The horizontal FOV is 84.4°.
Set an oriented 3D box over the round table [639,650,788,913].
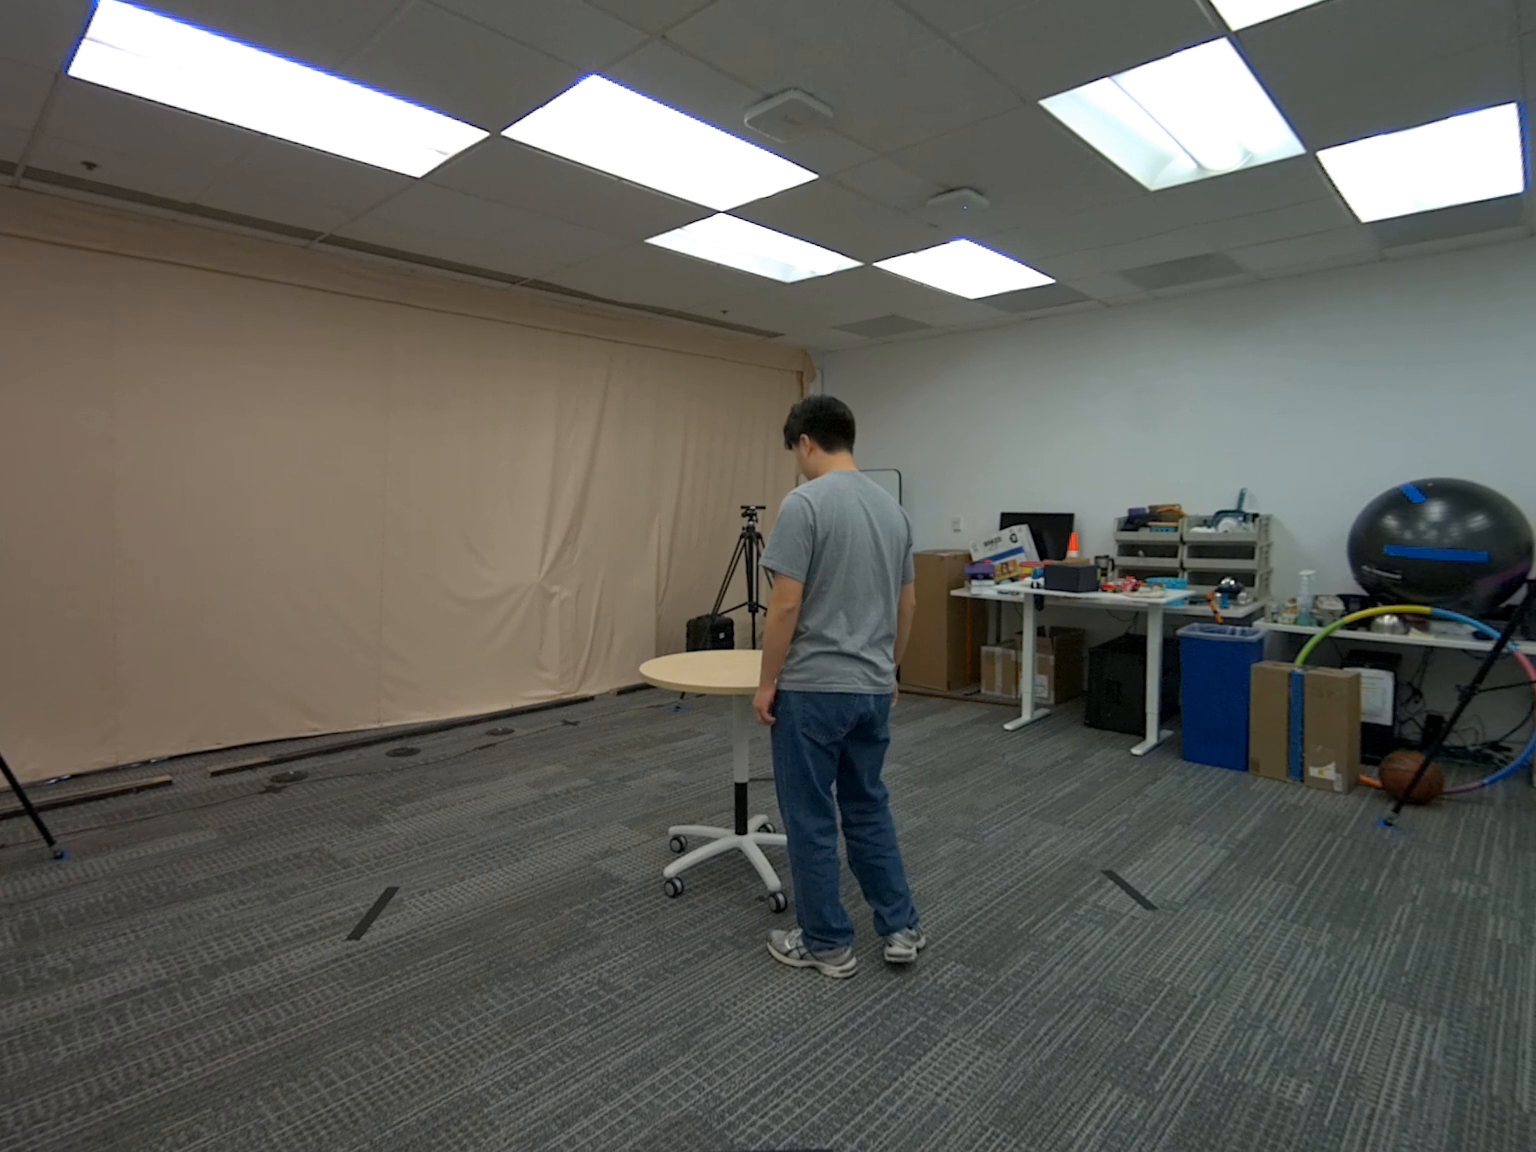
[{"bbox_3d":[-0.094,0.737,3.205,0.763,0.792,0.766,-1,3,-2],"label":"round table"}]
